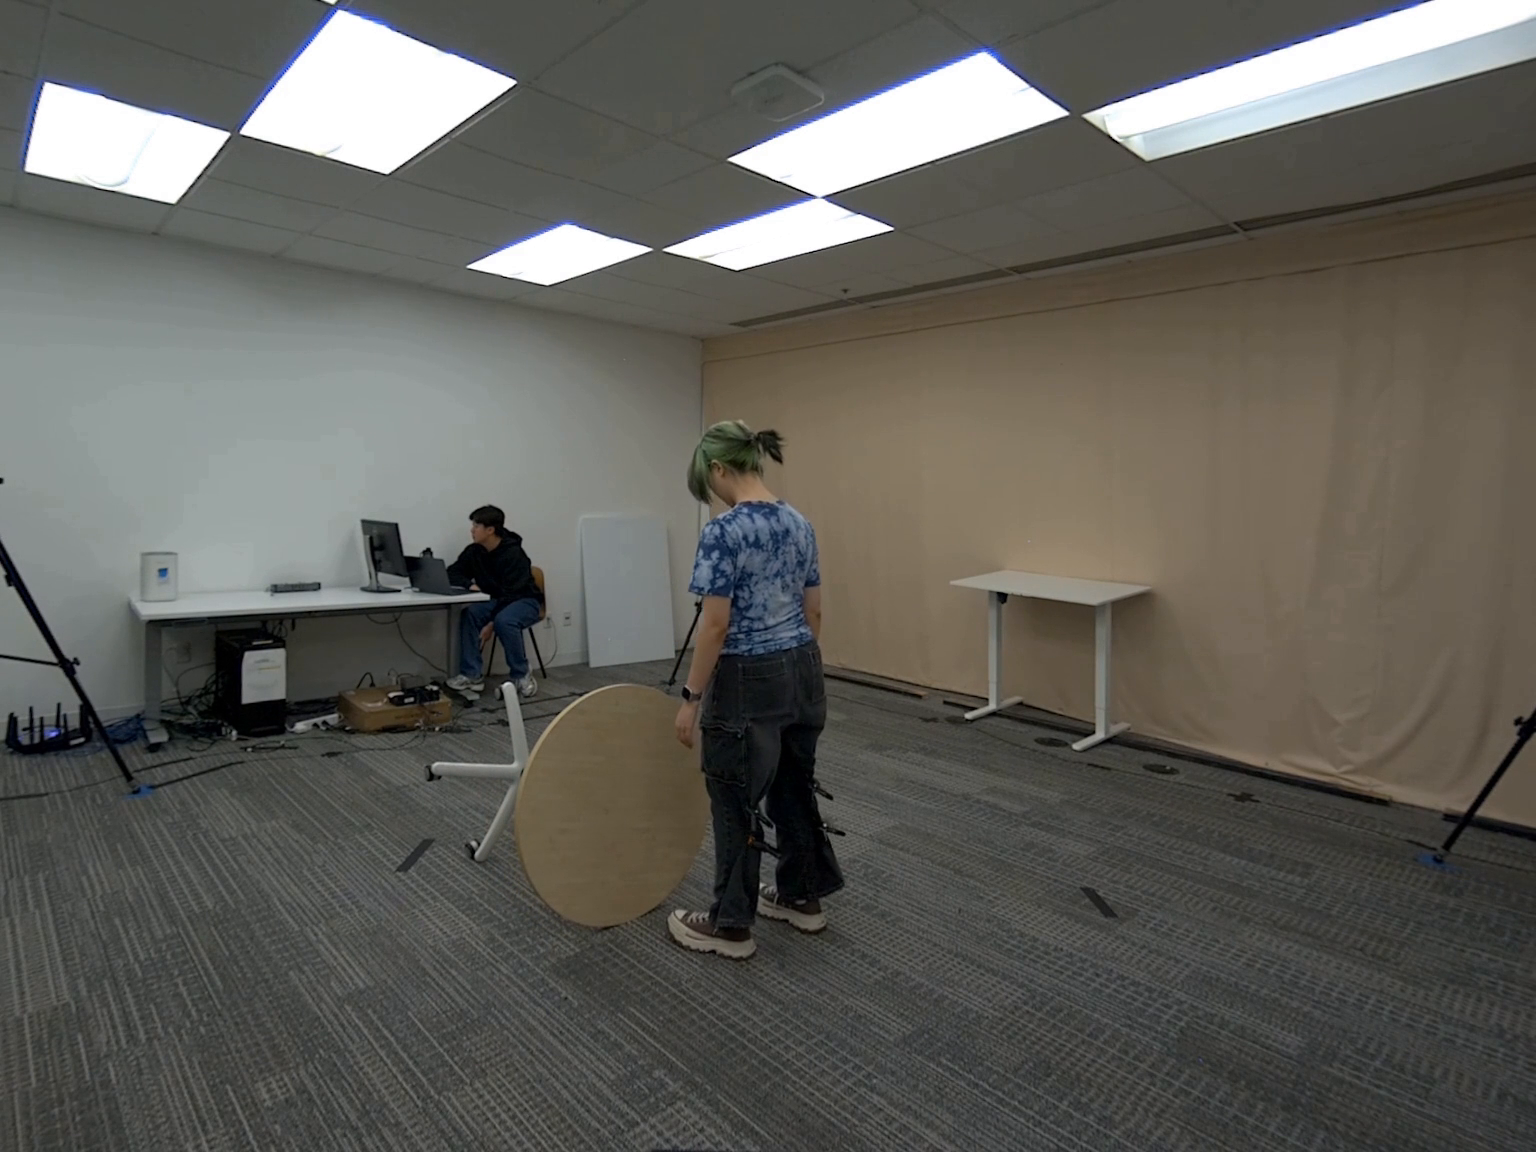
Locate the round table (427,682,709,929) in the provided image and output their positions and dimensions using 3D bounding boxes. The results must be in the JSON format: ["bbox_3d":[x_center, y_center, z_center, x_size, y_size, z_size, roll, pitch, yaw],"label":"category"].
[{"bbox_3d":[-0.756,0.756,3.059,0.746,0.765,0.811,-3,-1,-44],"label":"round table"}]
